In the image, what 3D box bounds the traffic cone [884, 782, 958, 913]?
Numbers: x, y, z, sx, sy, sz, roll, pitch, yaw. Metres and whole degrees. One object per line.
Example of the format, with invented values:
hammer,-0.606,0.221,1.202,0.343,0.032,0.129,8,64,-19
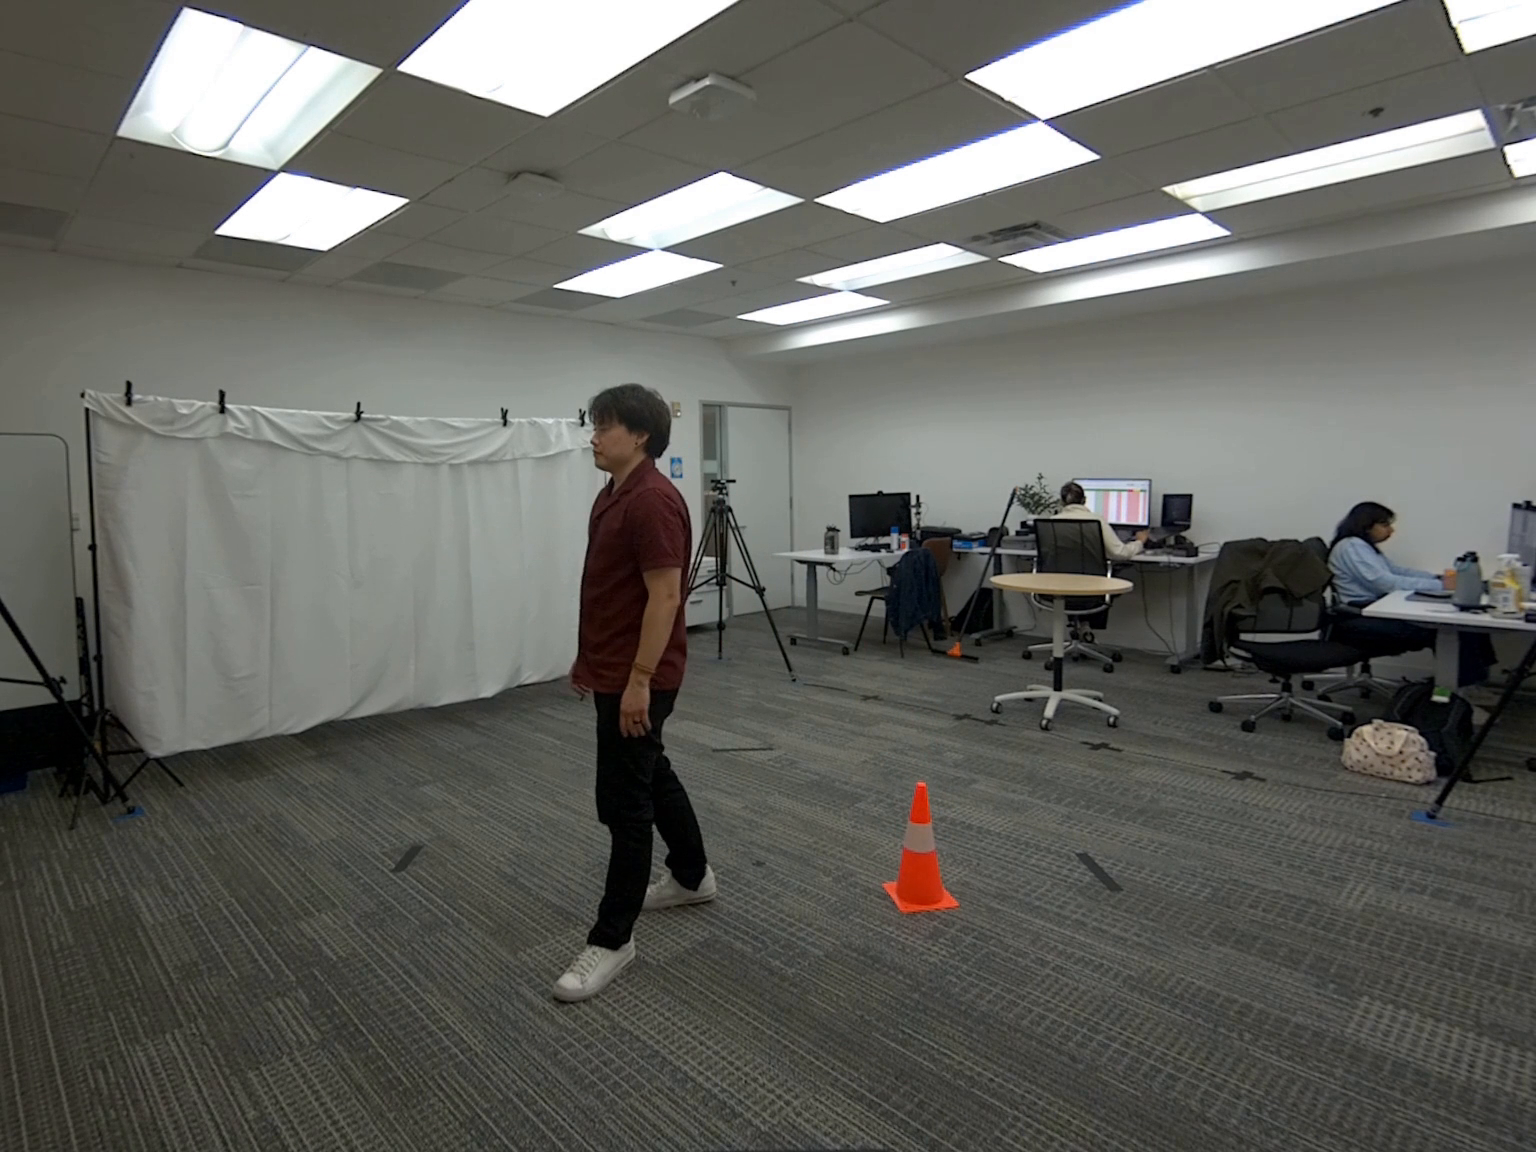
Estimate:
traffic cone,0.504,0.879,2.844,0.203,0.383,0.206,-3,3,-11
